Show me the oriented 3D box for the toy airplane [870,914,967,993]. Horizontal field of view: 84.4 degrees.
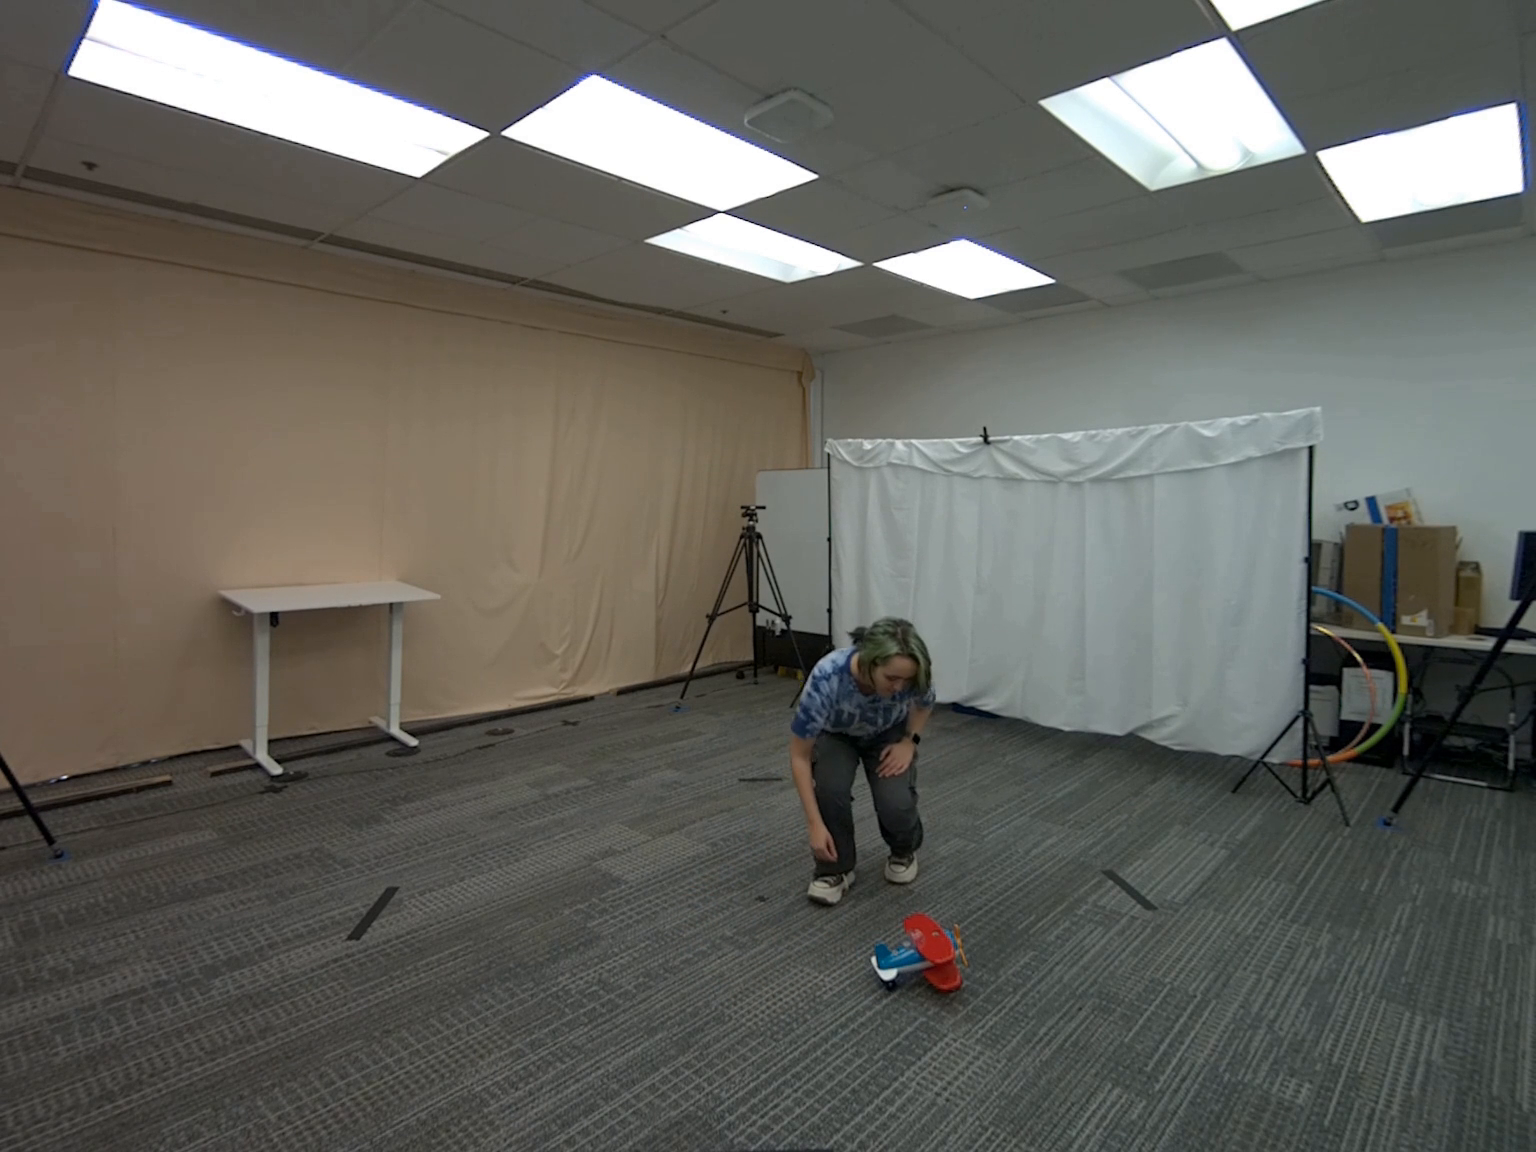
[{"bbox_3d":[0.433,1.116,2.425,0.251,0.156,0.259,-2,7,-36],"label":"toy airplane"}]
